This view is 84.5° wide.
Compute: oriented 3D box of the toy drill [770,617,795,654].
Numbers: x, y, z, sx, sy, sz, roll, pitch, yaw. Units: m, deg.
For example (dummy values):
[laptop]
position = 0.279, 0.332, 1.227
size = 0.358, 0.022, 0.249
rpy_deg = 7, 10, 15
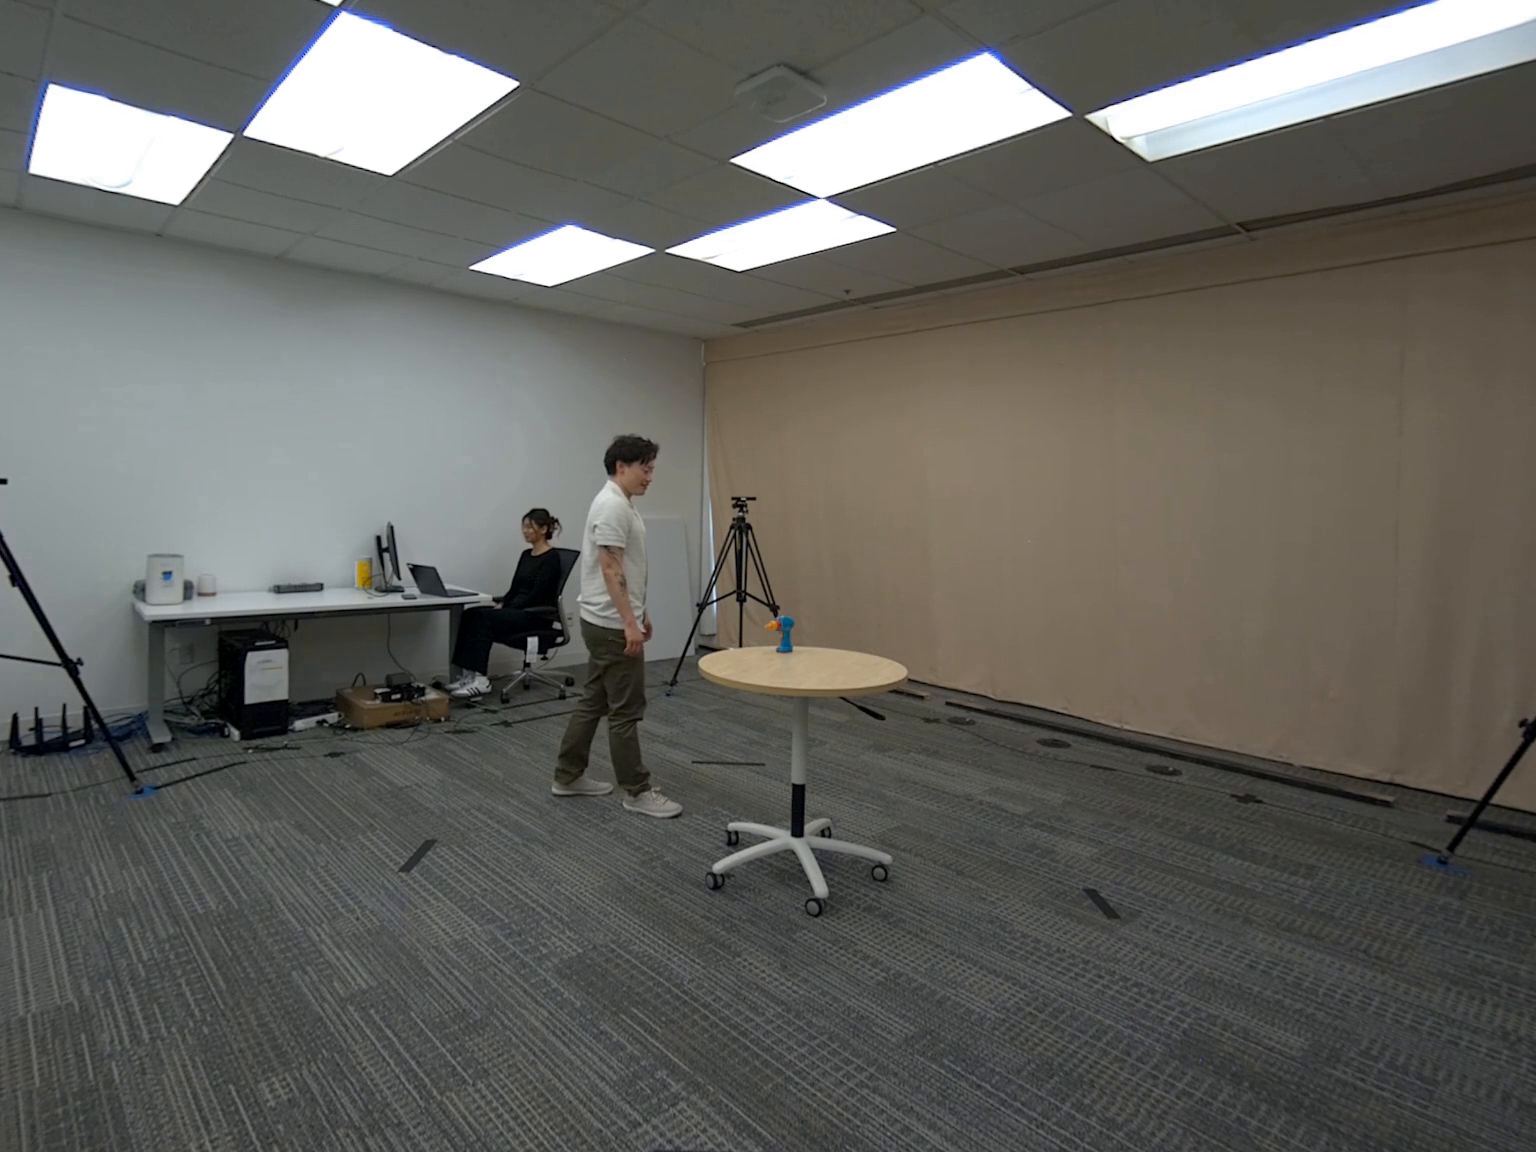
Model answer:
[toy drill]
position = 0.040, 0.234, 3.326
size = 0.062, 0.146, 0.166
rpy_deg = 3, 5, 39
